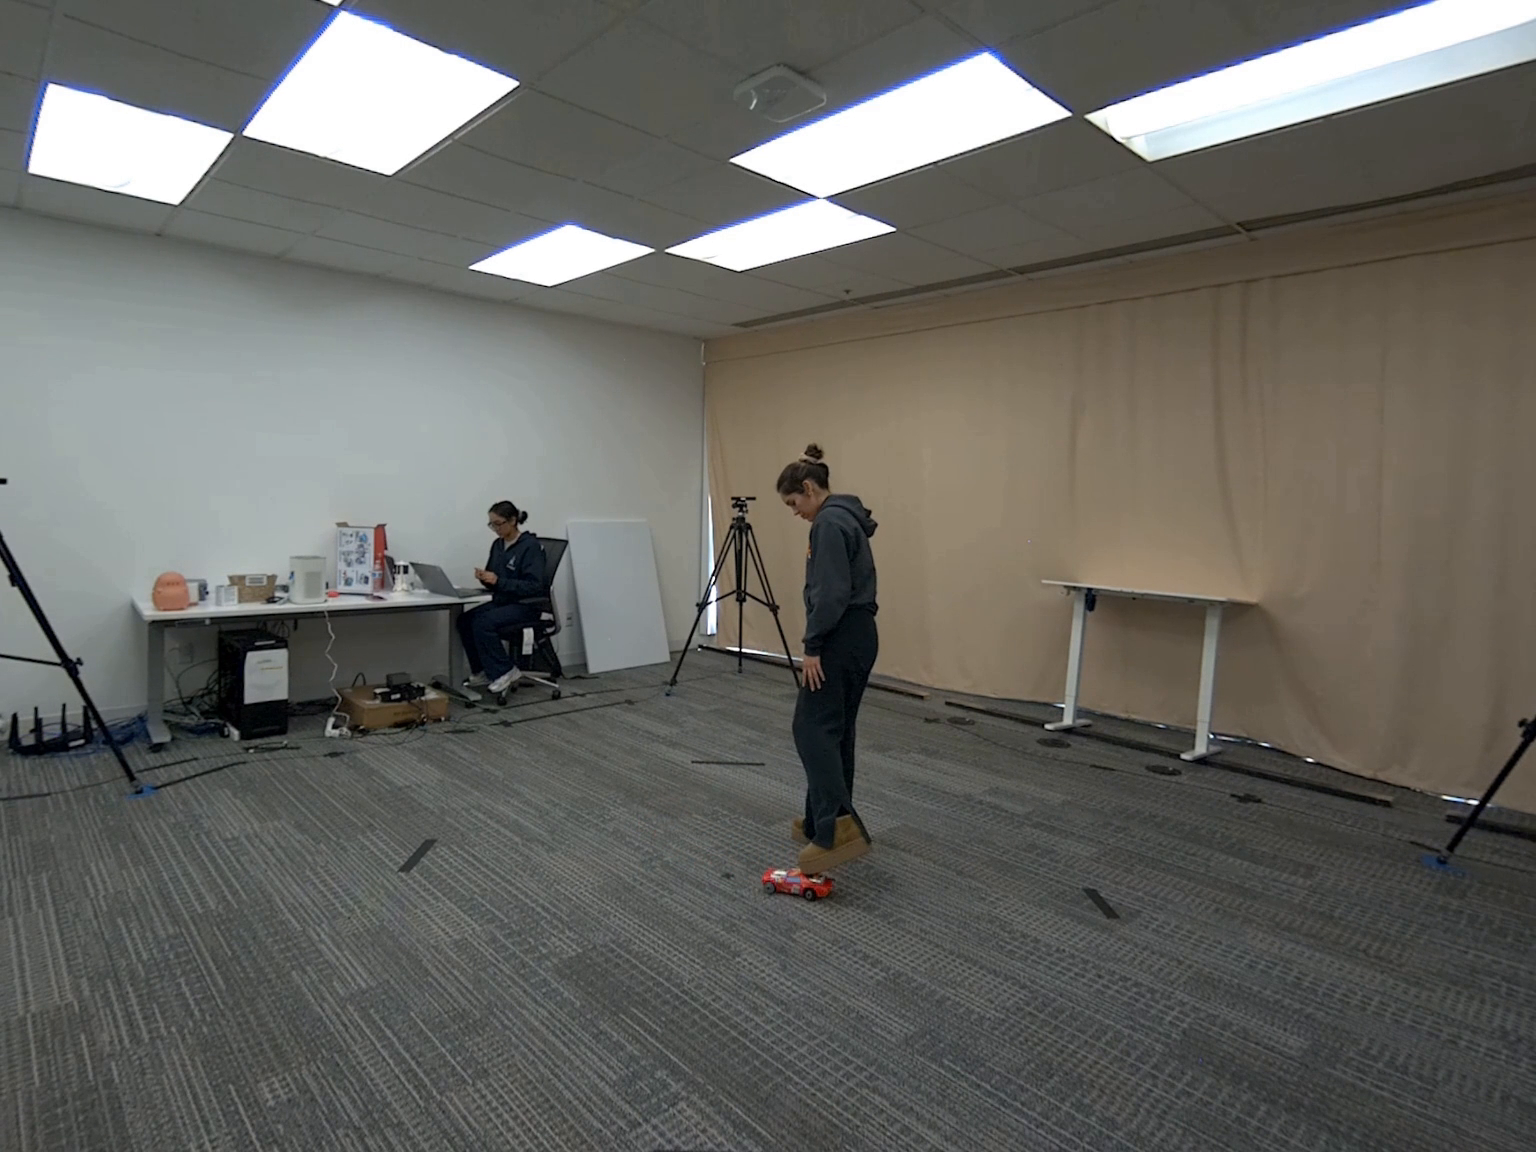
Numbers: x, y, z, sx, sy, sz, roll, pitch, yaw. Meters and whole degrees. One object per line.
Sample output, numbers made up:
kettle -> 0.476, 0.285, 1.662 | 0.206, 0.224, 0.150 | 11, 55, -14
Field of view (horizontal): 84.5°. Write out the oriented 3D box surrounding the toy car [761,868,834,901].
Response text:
toy car -> 0.098, 1.093, 2.996 | 0.258, 0.083, 0.128 | -6, 1, 19
